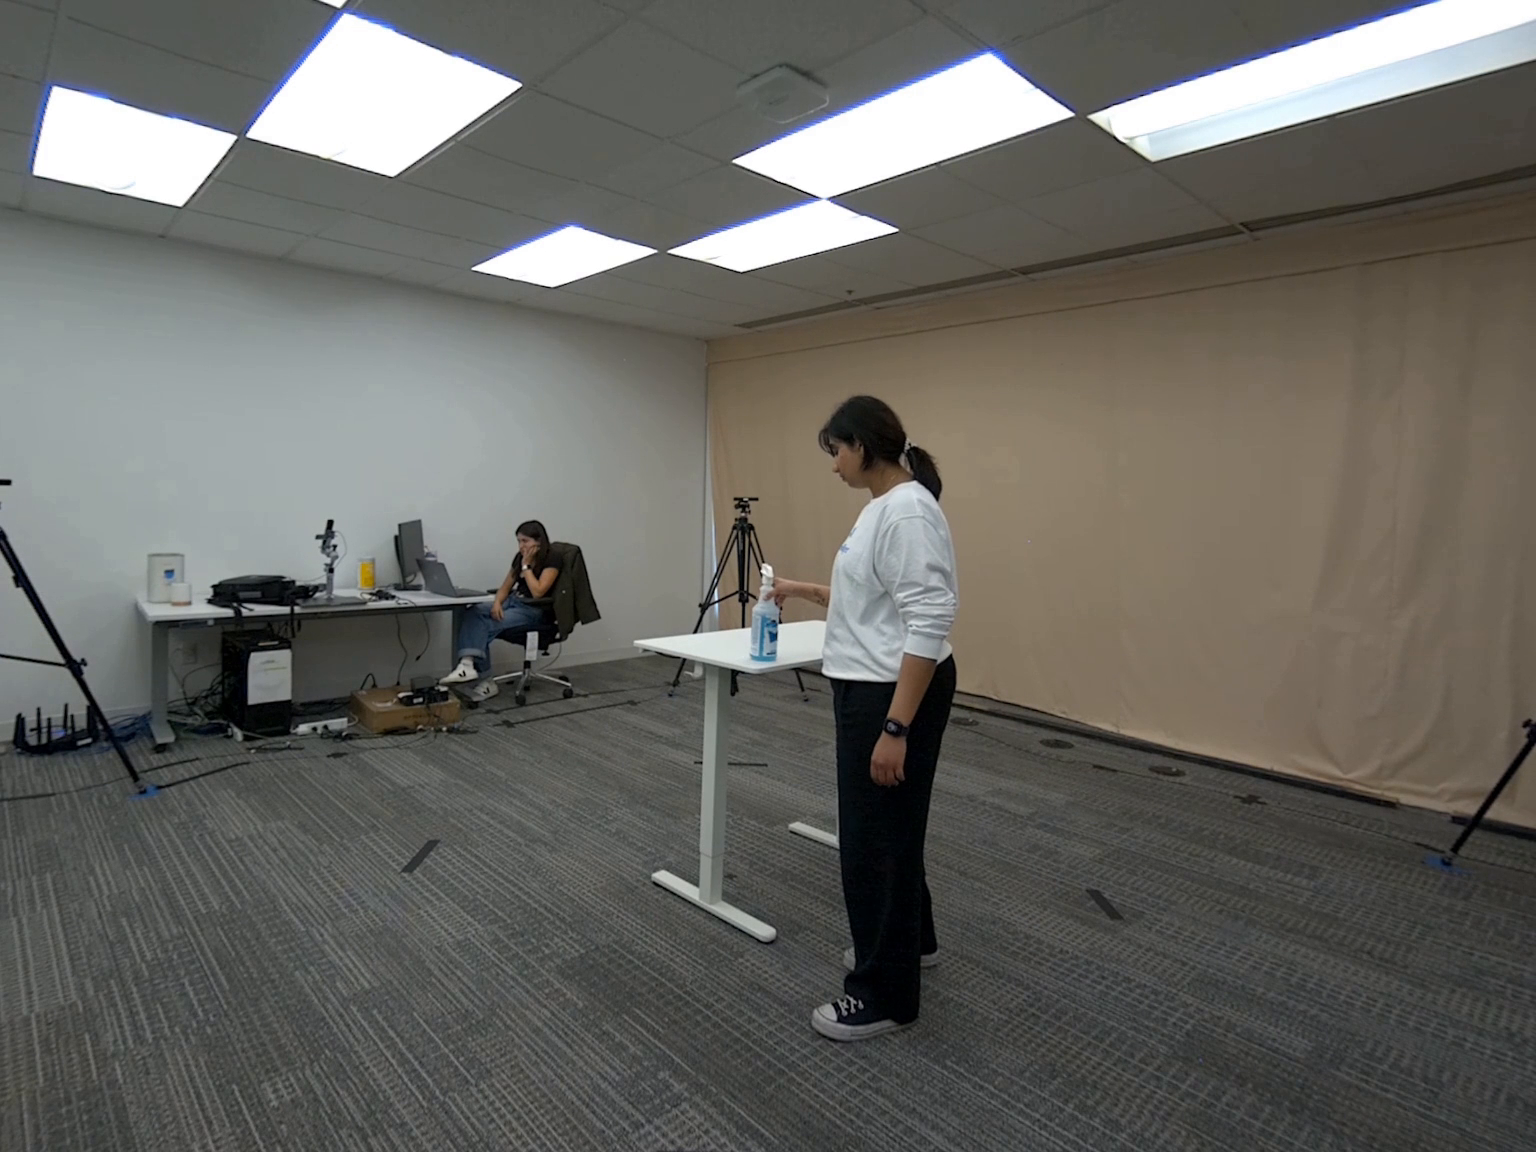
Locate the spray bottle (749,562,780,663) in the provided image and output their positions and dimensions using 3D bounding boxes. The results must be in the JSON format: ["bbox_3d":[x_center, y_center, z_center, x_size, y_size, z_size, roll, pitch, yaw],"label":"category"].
[{"bbox_3d":[-0.004,0.118,2.658,0.088,0.296,0.089,7,7,11],"label":"spray bottle"}]
